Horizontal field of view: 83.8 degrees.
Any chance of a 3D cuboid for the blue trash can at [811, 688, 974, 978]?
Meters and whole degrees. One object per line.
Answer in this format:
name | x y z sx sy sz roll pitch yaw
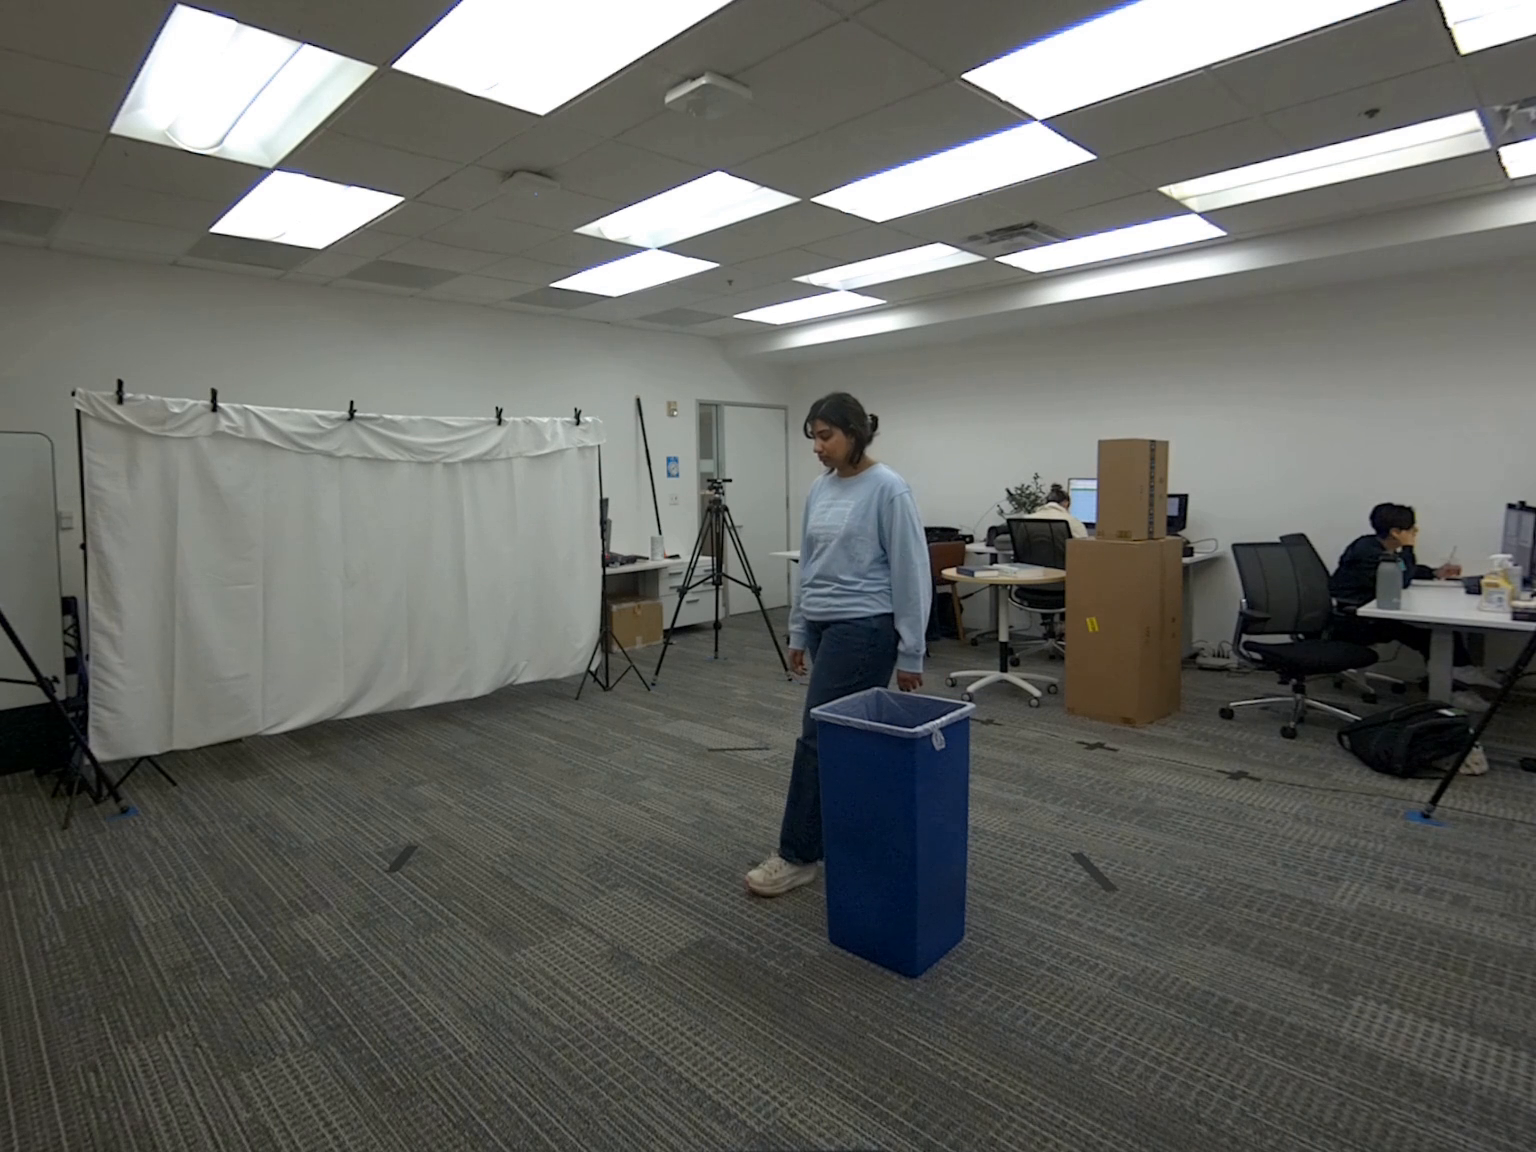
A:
blue trash can | 0.385 0.746 2.565 0.389 0.711 0.364 2 5 41
